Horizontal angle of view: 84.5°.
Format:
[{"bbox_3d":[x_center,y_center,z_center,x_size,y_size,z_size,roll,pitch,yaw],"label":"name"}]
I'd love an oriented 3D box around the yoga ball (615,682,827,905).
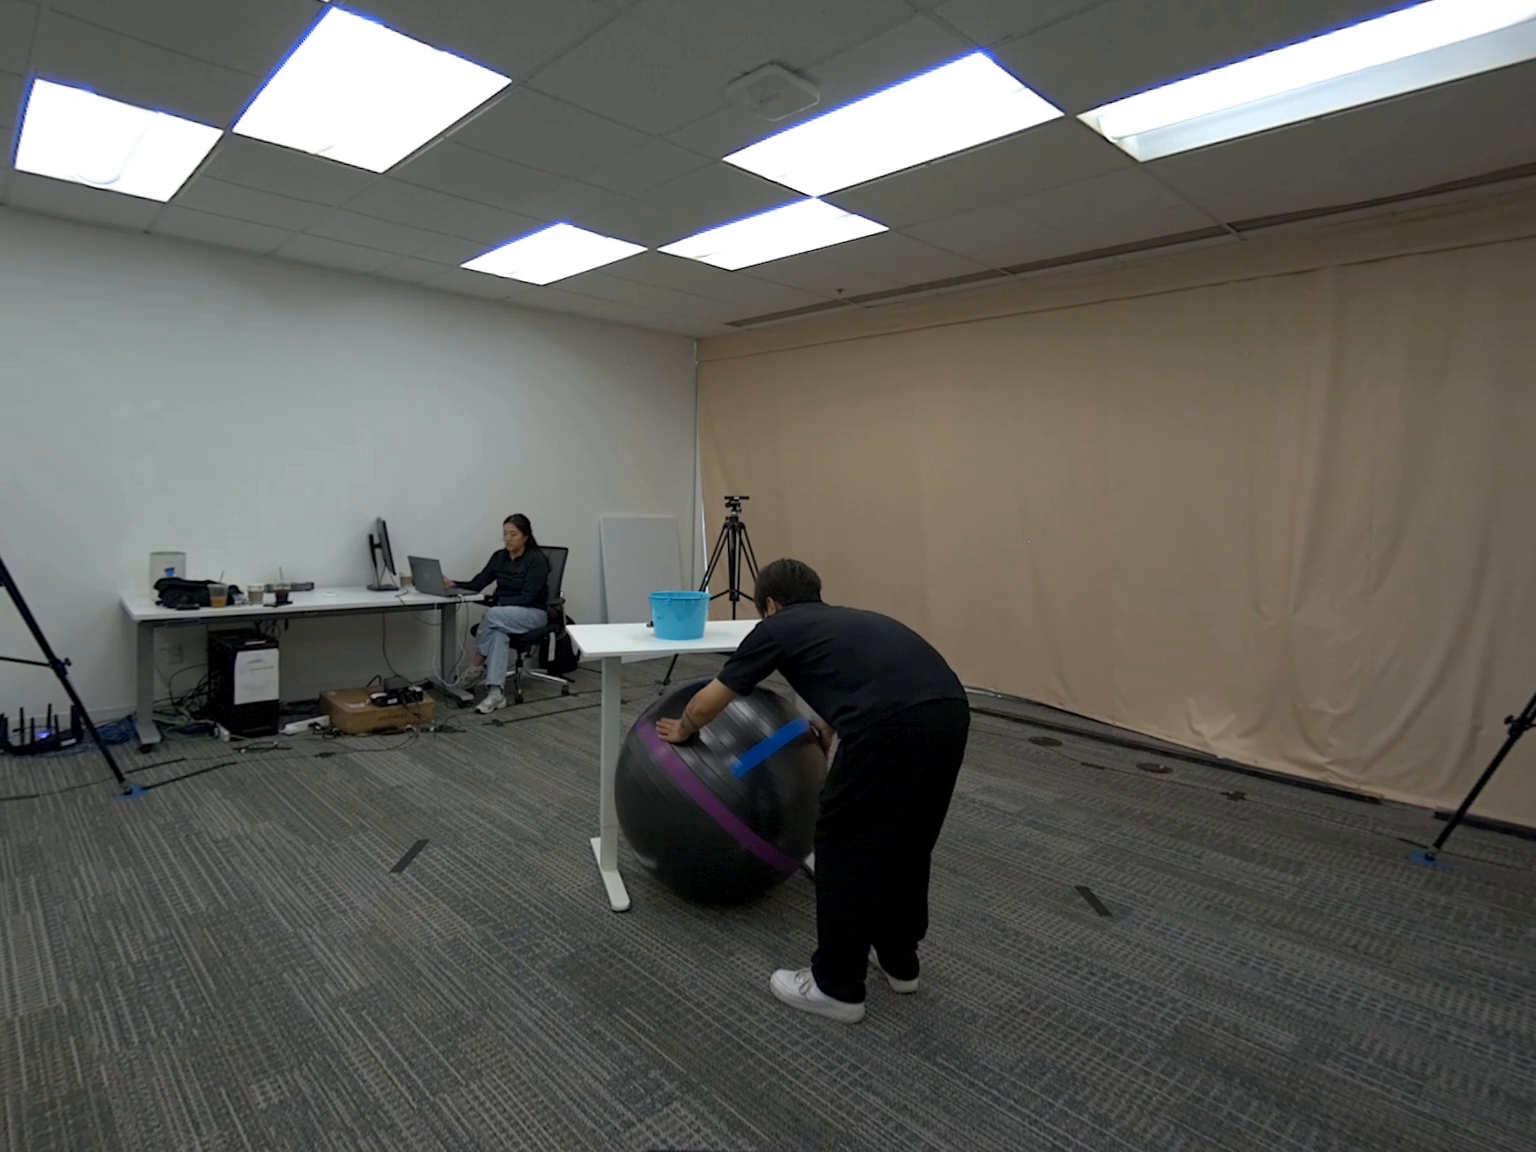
[{"bbox_3d":[-0.166,0.747,2.992,0.757,0.756,0.761,1,4,-1],"label":"yoga ball"}]
